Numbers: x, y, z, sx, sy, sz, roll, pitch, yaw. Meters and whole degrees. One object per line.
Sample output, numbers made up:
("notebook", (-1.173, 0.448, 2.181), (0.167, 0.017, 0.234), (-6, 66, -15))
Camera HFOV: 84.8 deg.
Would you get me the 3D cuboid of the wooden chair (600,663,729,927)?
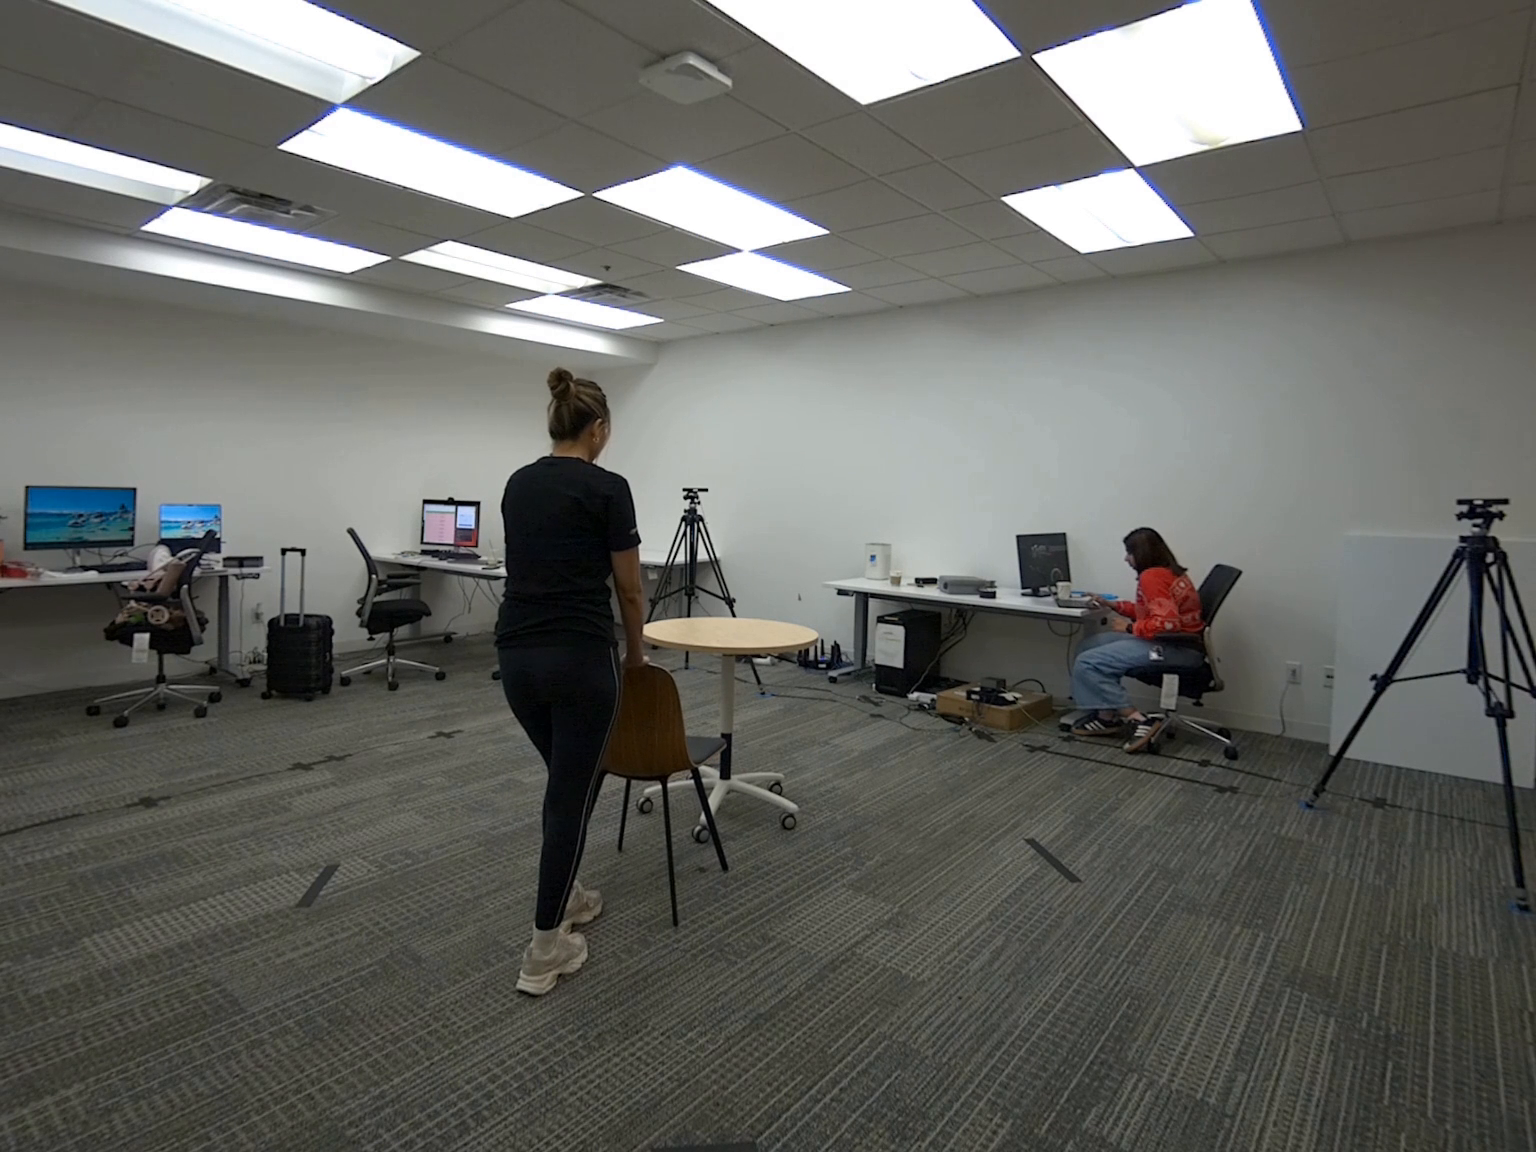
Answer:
("wooden chair", (-0.434, 0.650, 2.959), (0.489, 0.872, 0.515), (2, 7, 20))
